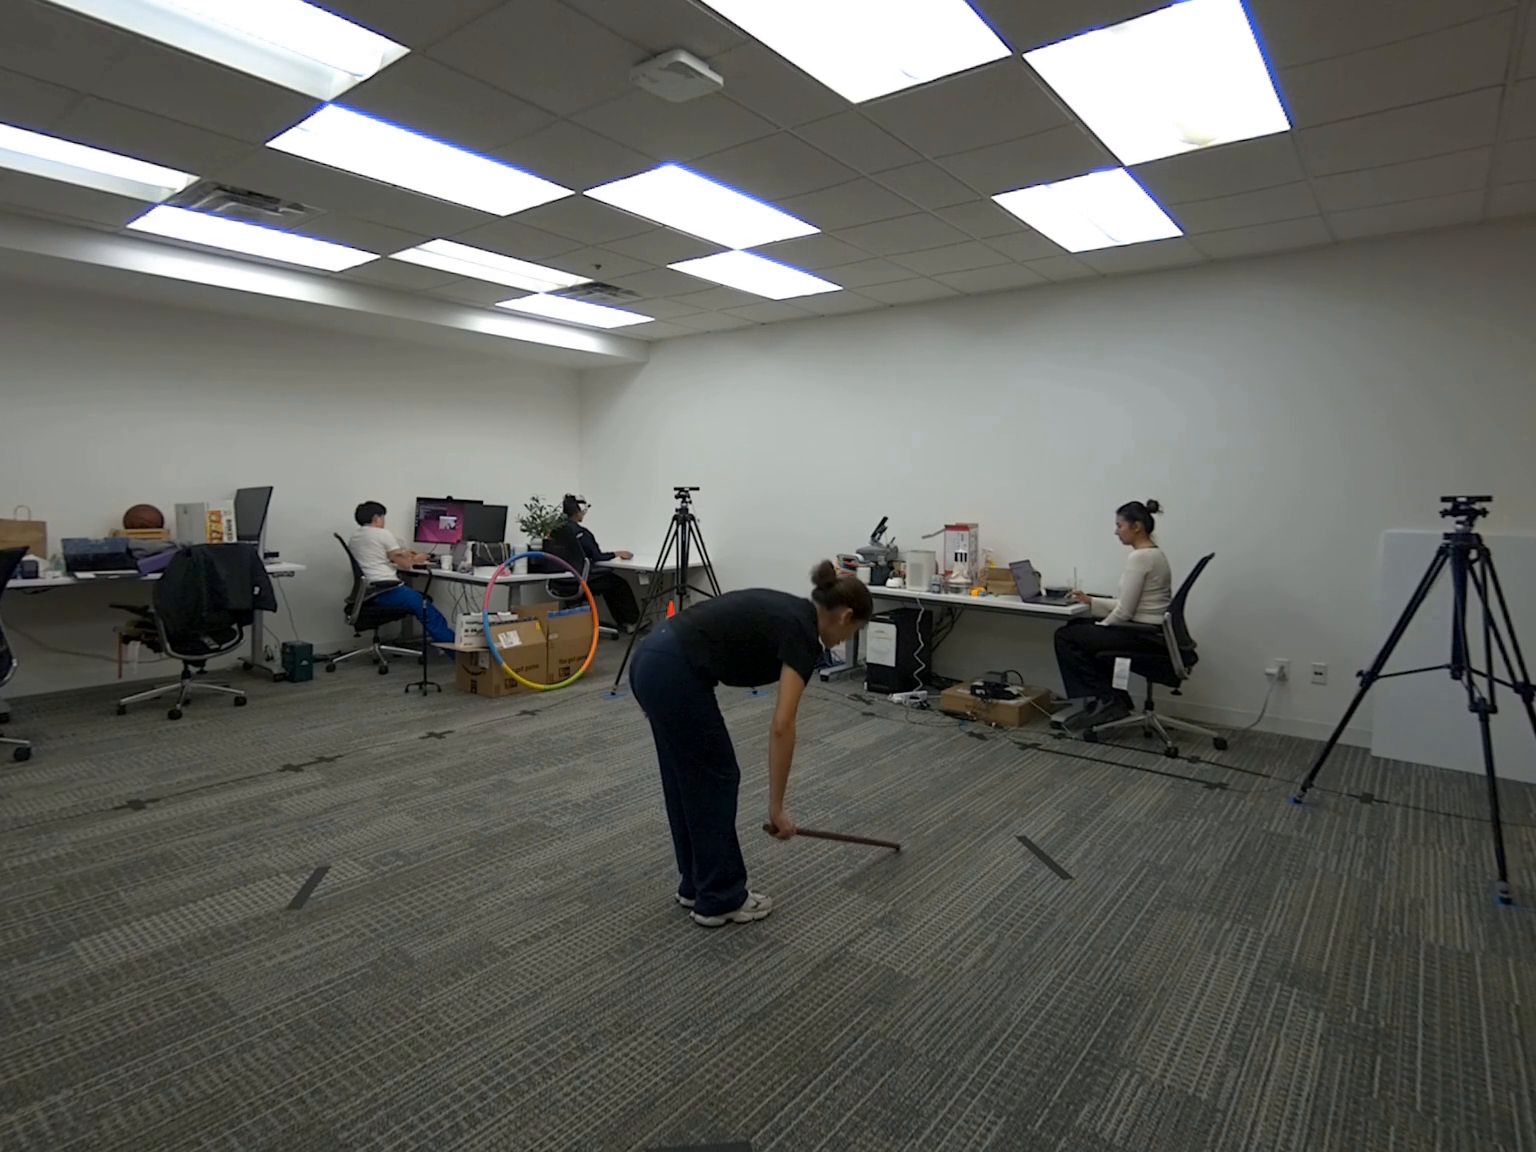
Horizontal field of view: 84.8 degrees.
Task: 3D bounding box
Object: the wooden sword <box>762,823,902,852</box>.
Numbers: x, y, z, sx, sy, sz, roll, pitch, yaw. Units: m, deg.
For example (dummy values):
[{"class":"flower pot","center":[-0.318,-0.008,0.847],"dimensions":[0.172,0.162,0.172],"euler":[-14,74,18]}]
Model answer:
[{"class":"wooden sword","center":[0.275,0.898,2.931],"dimensions":[0.053,0.024,0.983],"euler":[13,-10,37]}]
